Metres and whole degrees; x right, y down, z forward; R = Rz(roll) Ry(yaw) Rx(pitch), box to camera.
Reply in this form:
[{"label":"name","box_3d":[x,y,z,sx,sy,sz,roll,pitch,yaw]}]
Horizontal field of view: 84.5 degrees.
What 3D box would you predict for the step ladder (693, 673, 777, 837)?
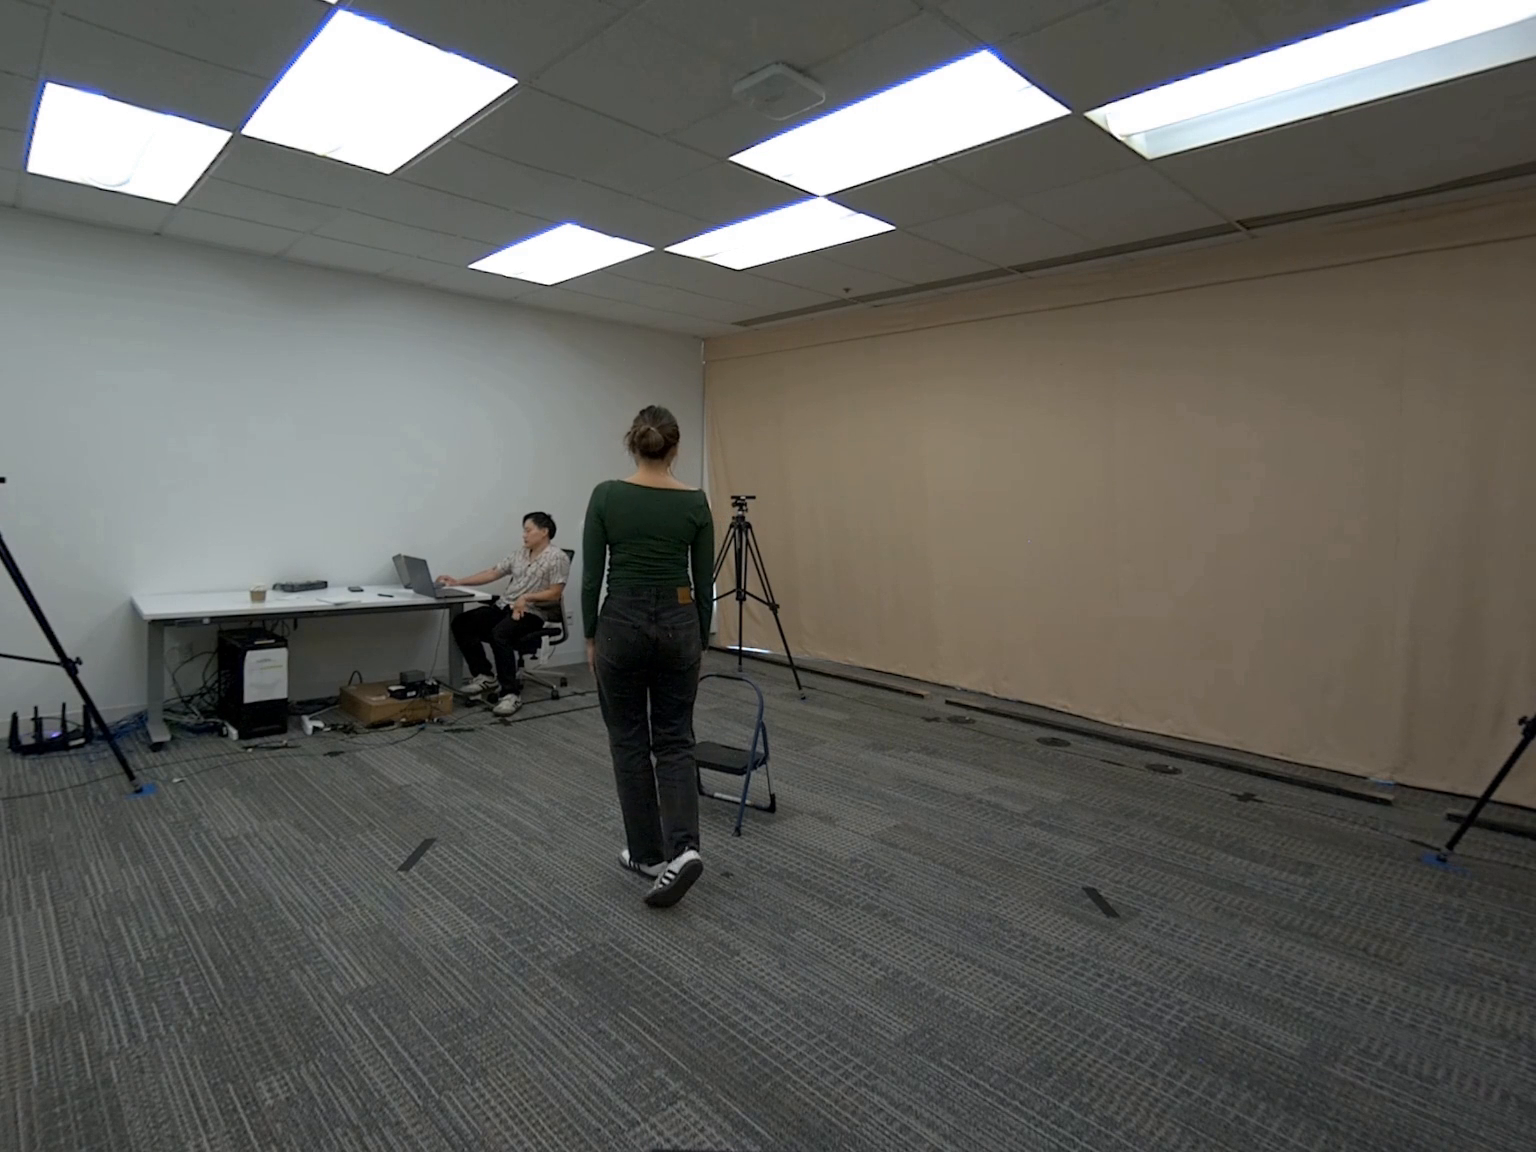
[{"label":"step ladder","box_3d":[-0.222,0.745,3.692,0.440,0.604,0.342,4,4,30]}]
